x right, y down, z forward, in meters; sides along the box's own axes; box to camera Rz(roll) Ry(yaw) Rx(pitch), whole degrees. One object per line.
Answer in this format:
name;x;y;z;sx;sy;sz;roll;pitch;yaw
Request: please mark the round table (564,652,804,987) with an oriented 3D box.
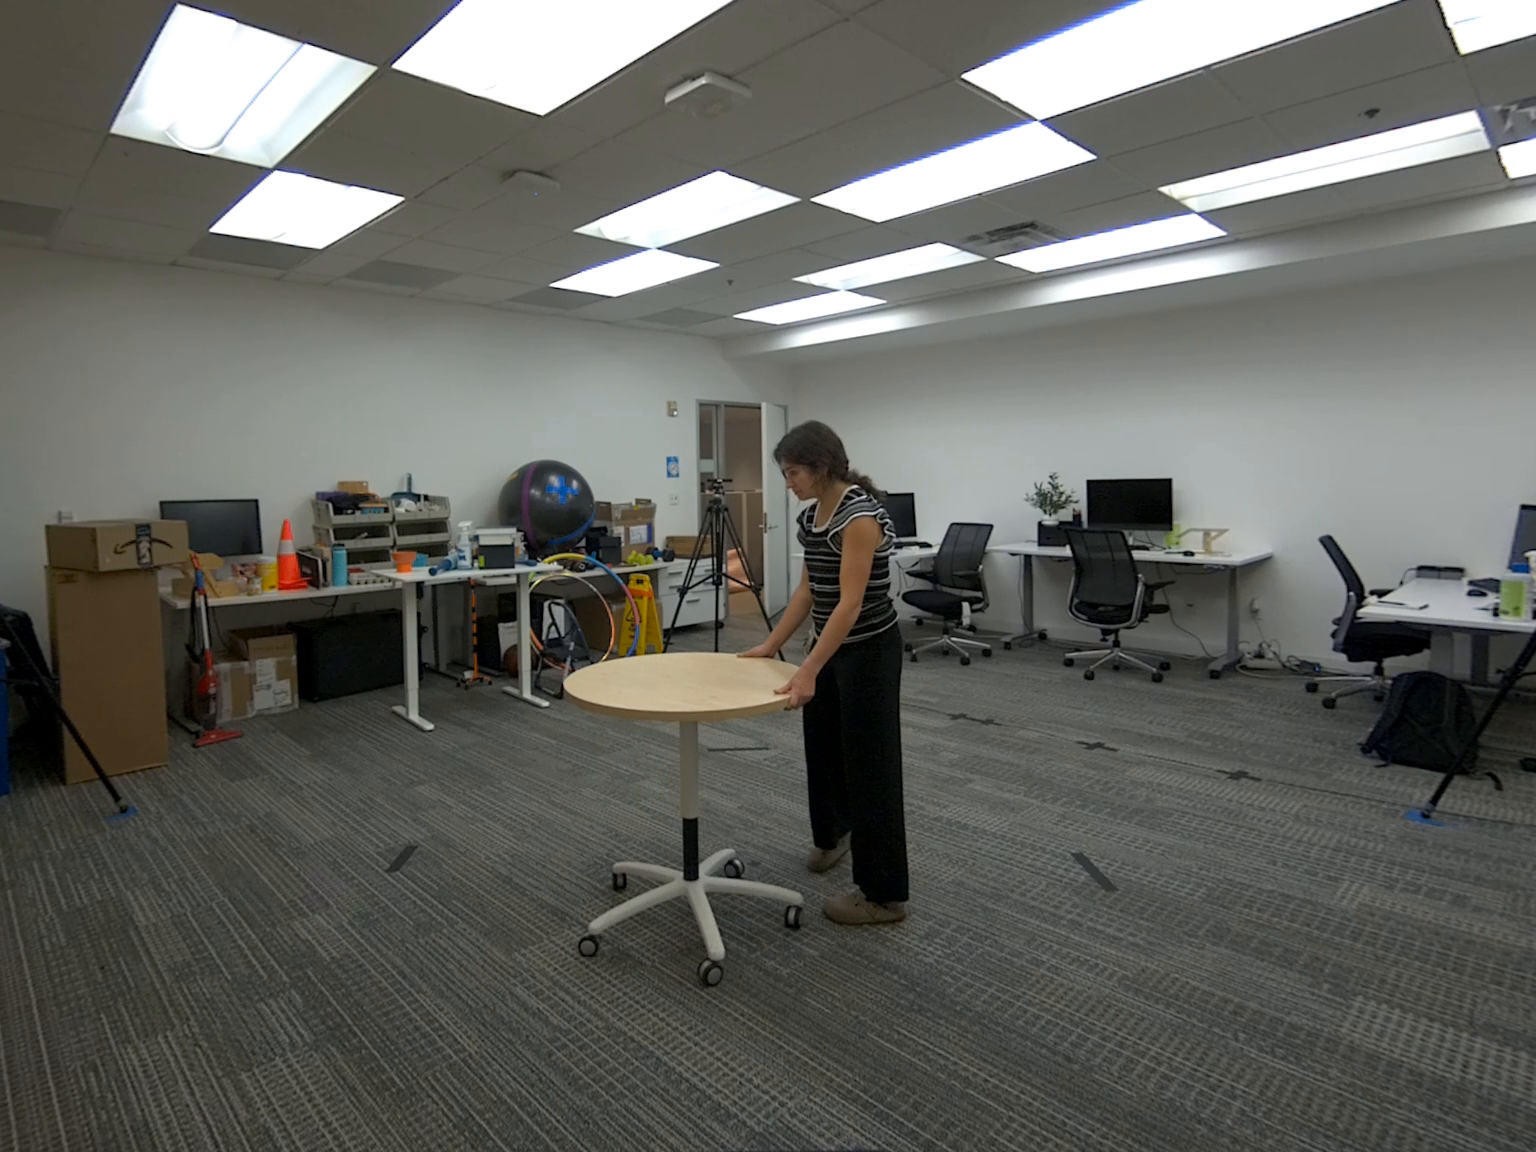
round table;-0.249;0.710;2.687;0.763;0.791;0.768;-1;5;-2
